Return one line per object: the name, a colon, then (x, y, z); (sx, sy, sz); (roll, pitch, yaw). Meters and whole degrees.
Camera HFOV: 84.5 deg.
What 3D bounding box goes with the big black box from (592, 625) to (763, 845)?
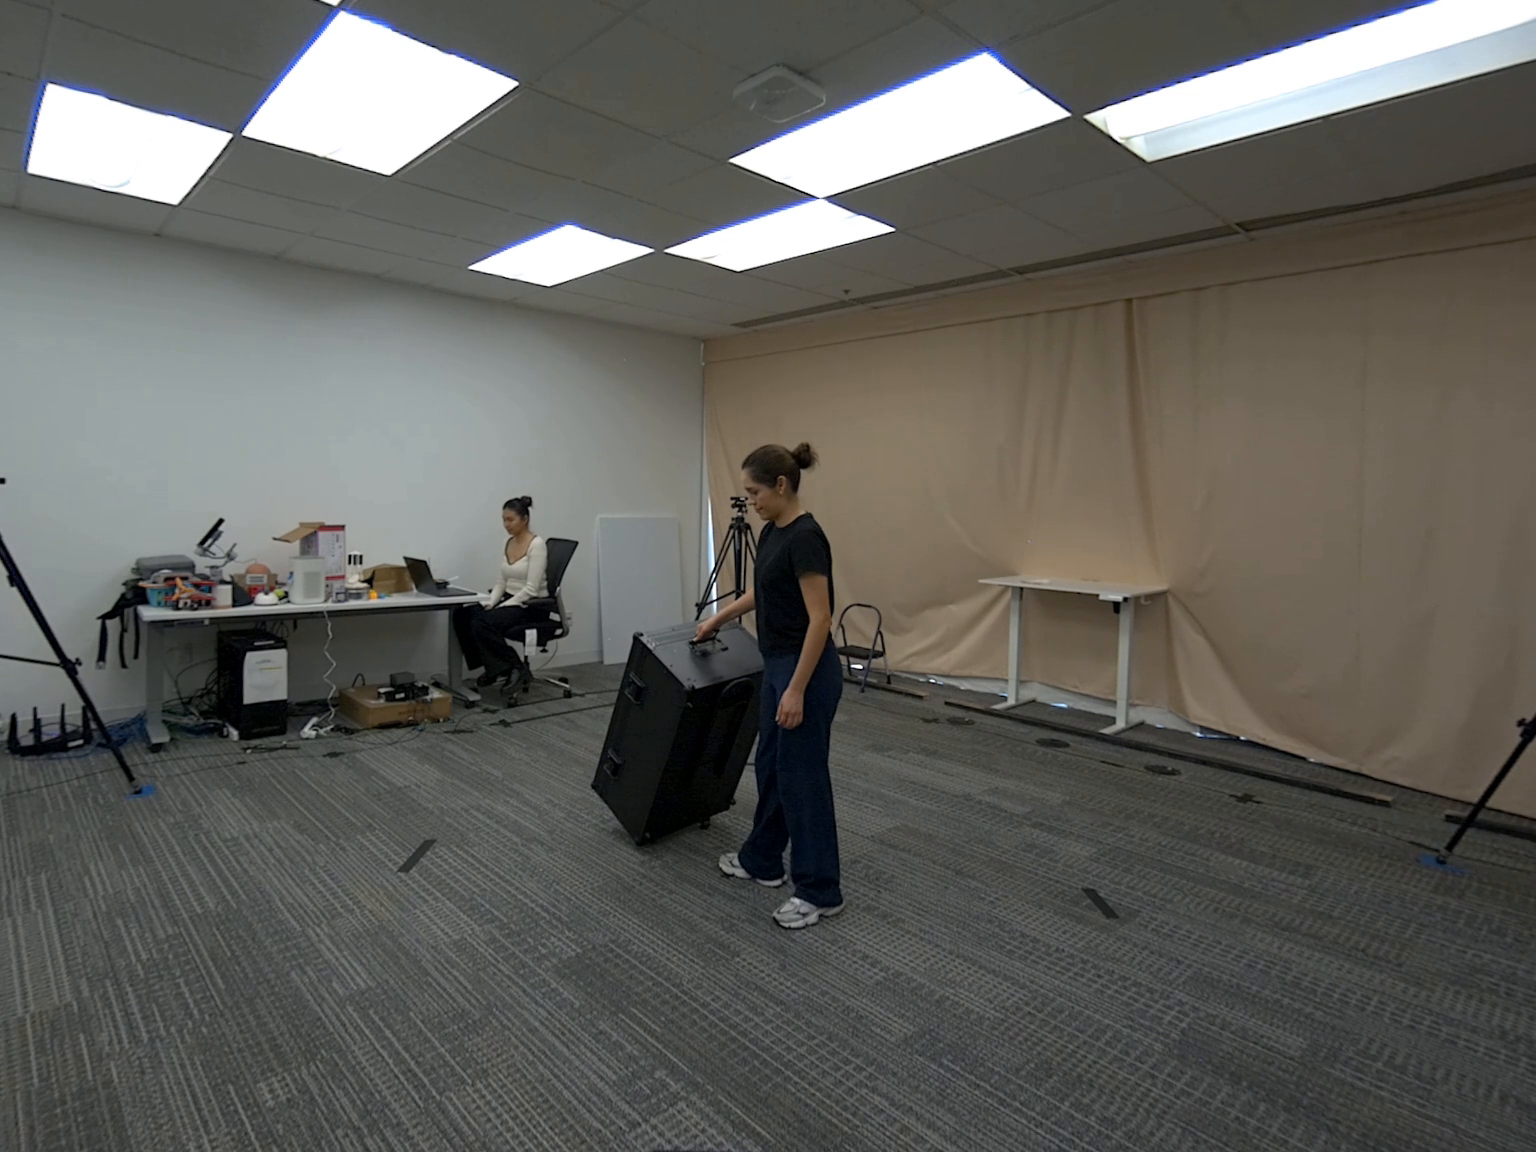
big black box: (-0.324, 0.595, 3.339); (0.510, 0.852, 0.409); (-8, 36, -43)
